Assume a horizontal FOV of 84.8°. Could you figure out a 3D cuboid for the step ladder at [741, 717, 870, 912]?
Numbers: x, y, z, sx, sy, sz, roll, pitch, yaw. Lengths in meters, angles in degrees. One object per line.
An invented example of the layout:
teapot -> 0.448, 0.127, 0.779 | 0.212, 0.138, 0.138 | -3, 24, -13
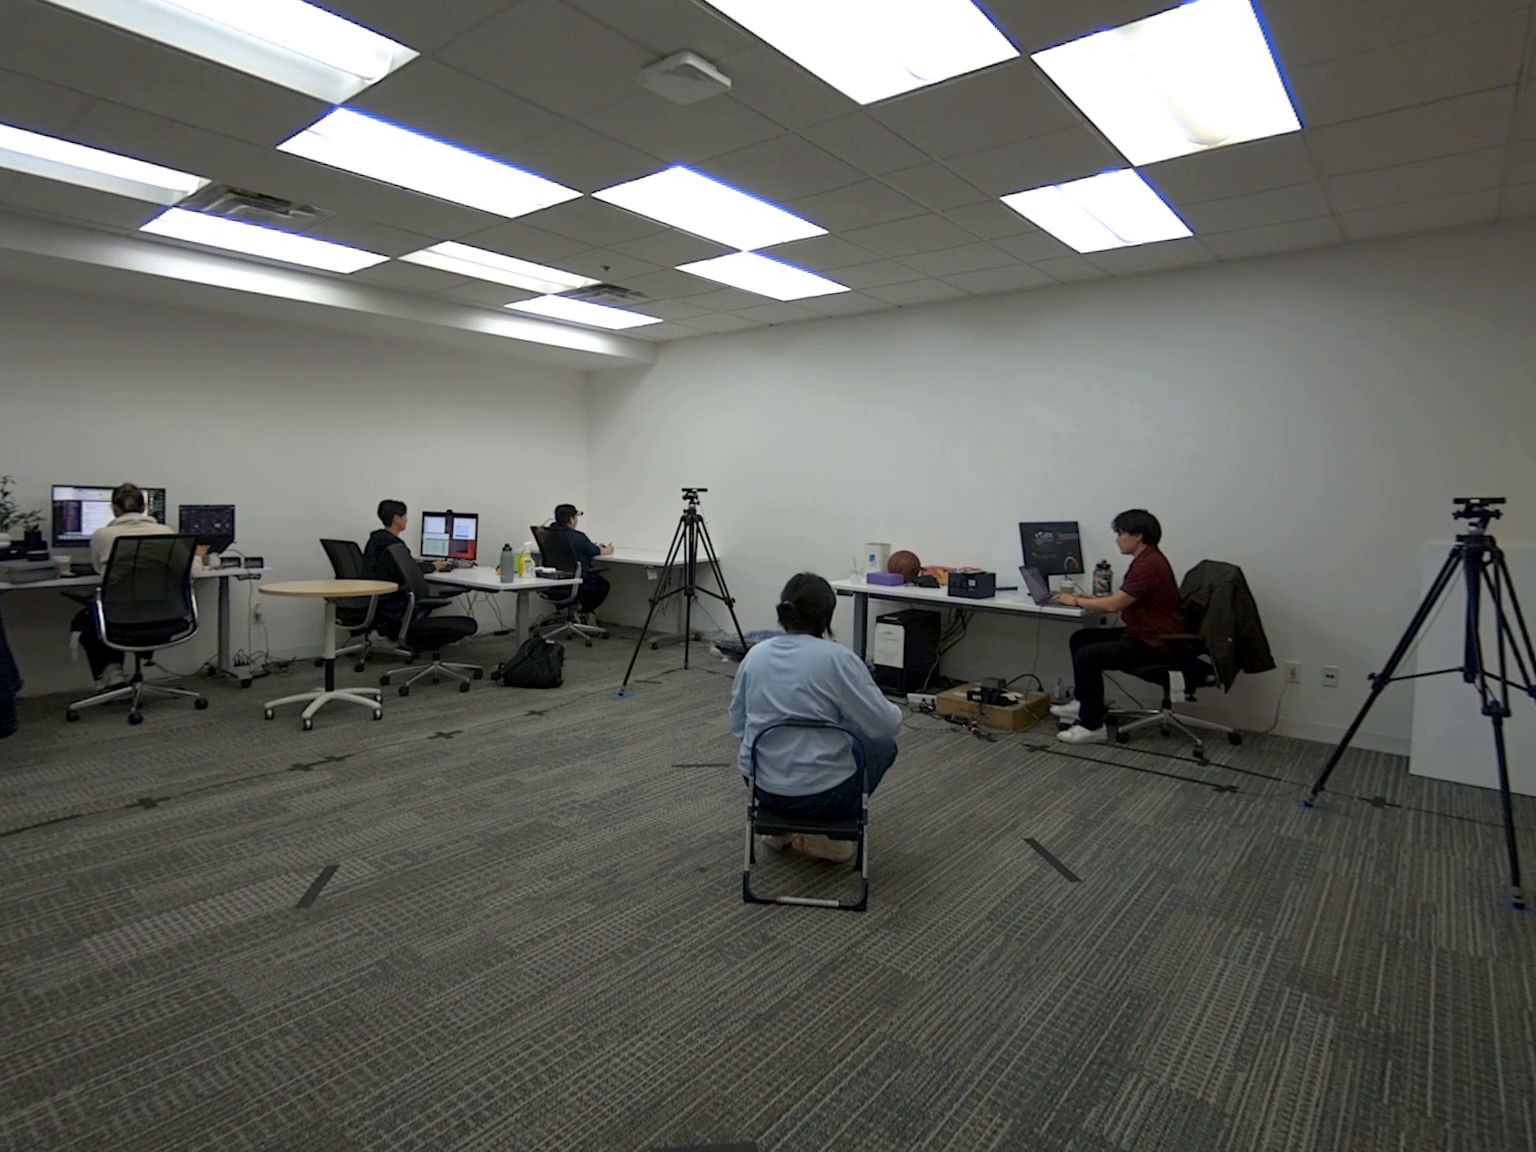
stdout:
step ladder -> 0.126, 0.795, 2.987 | 0.432, 0.605, 0.349 | 0, 3, 3
